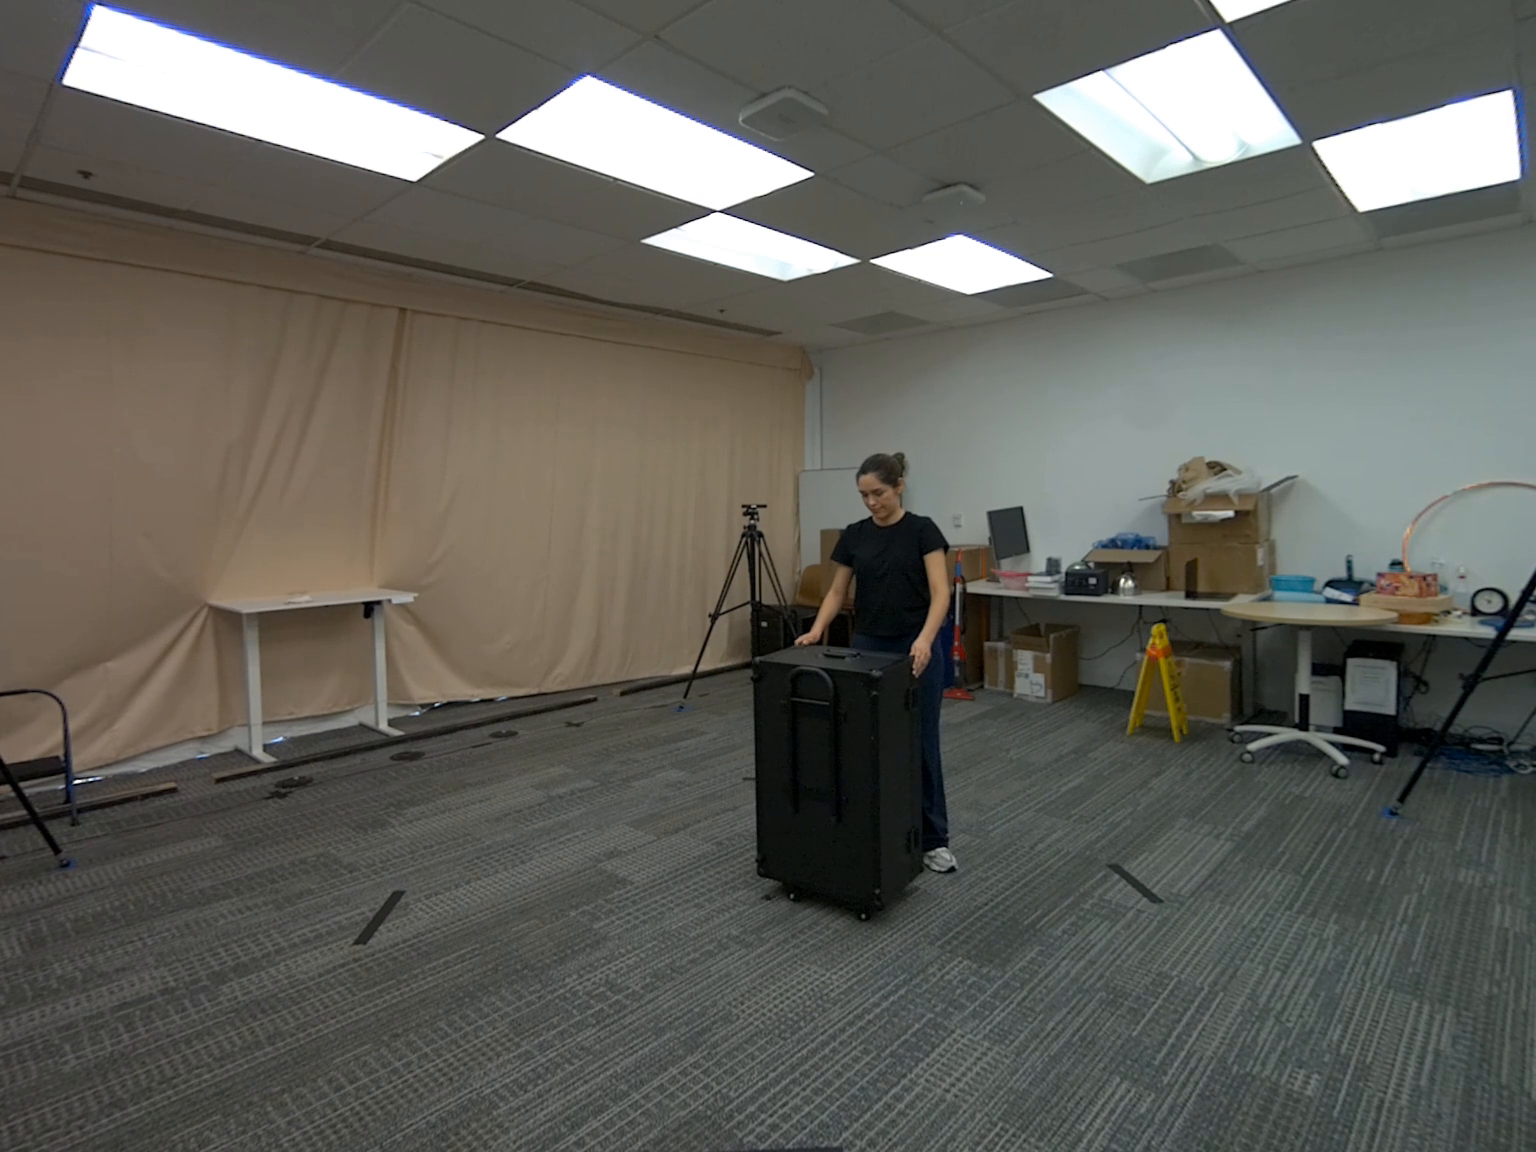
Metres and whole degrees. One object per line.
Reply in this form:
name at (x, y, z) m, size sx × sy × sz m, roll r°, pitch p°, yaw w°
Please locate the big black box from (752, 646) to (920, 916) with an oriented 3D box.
big black box at (0.260, 0.709, 2.972) m, size 0.537 × 0.859 × 0.385 m, roll 2°, pitch 5°, yaw 34°
